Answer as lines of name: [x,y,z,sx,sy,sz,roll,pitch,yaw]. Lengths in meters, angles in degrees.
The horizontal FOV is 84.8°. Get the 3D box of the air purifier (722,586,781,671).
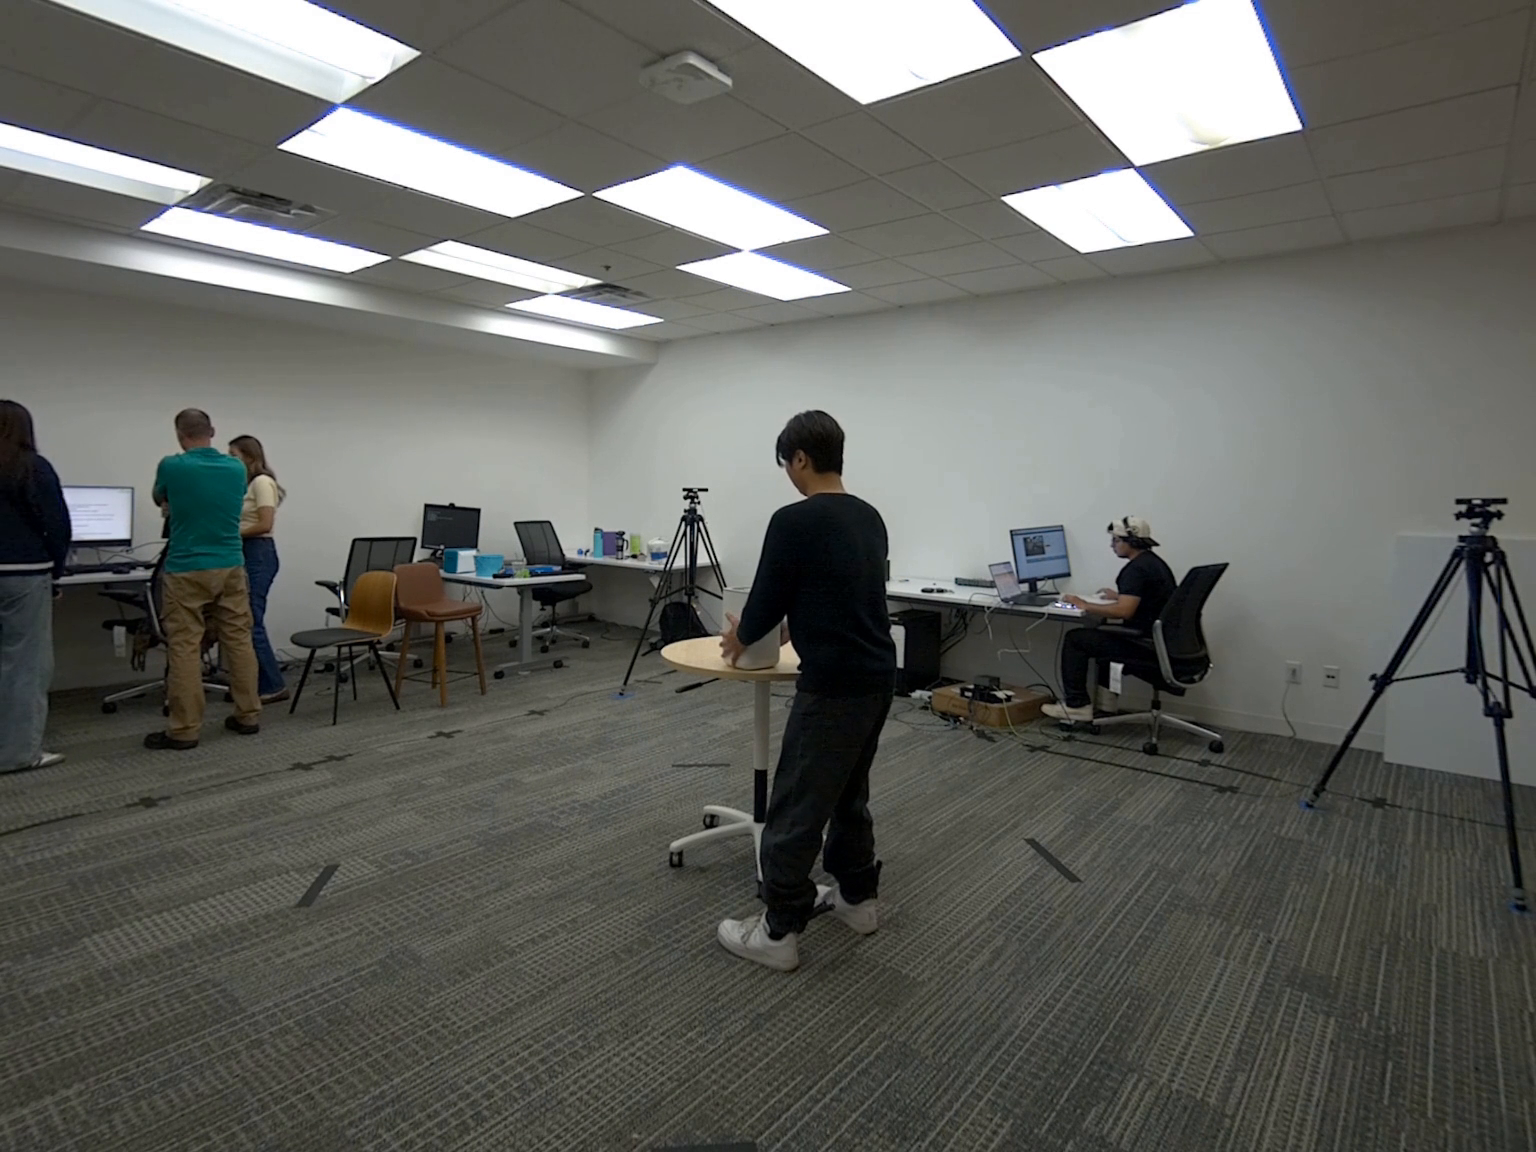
air purifier: [-0.062,0.173,2.924,0.166,0.265,0.177,-1,4,-38]
